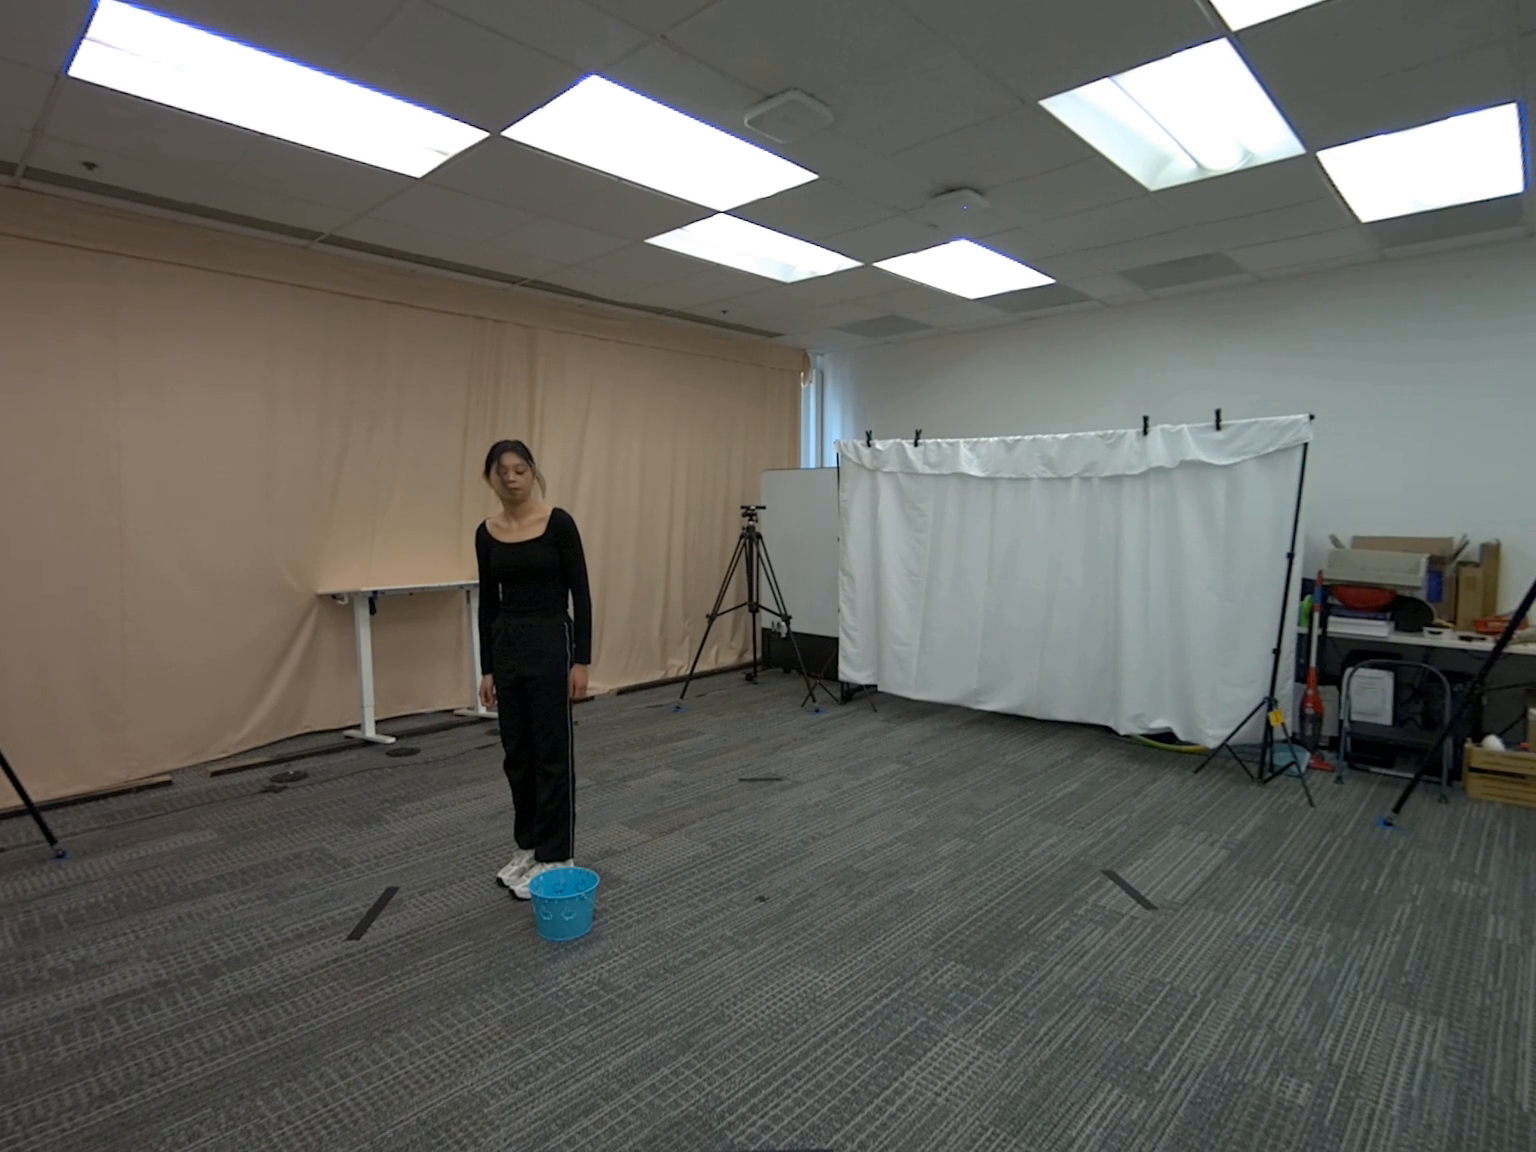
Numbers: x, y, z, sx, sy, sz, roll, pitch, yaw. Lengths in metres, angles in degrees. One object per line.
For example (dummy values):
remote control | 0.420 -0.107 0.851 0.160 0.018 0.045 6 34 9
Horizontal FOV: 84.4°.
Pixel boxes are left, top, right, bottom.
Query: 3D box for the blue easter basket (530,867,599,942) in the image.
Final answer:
blue easter basket | -0.672 1.090 2.791 0.243 0.155 0.244 0 4 -2
